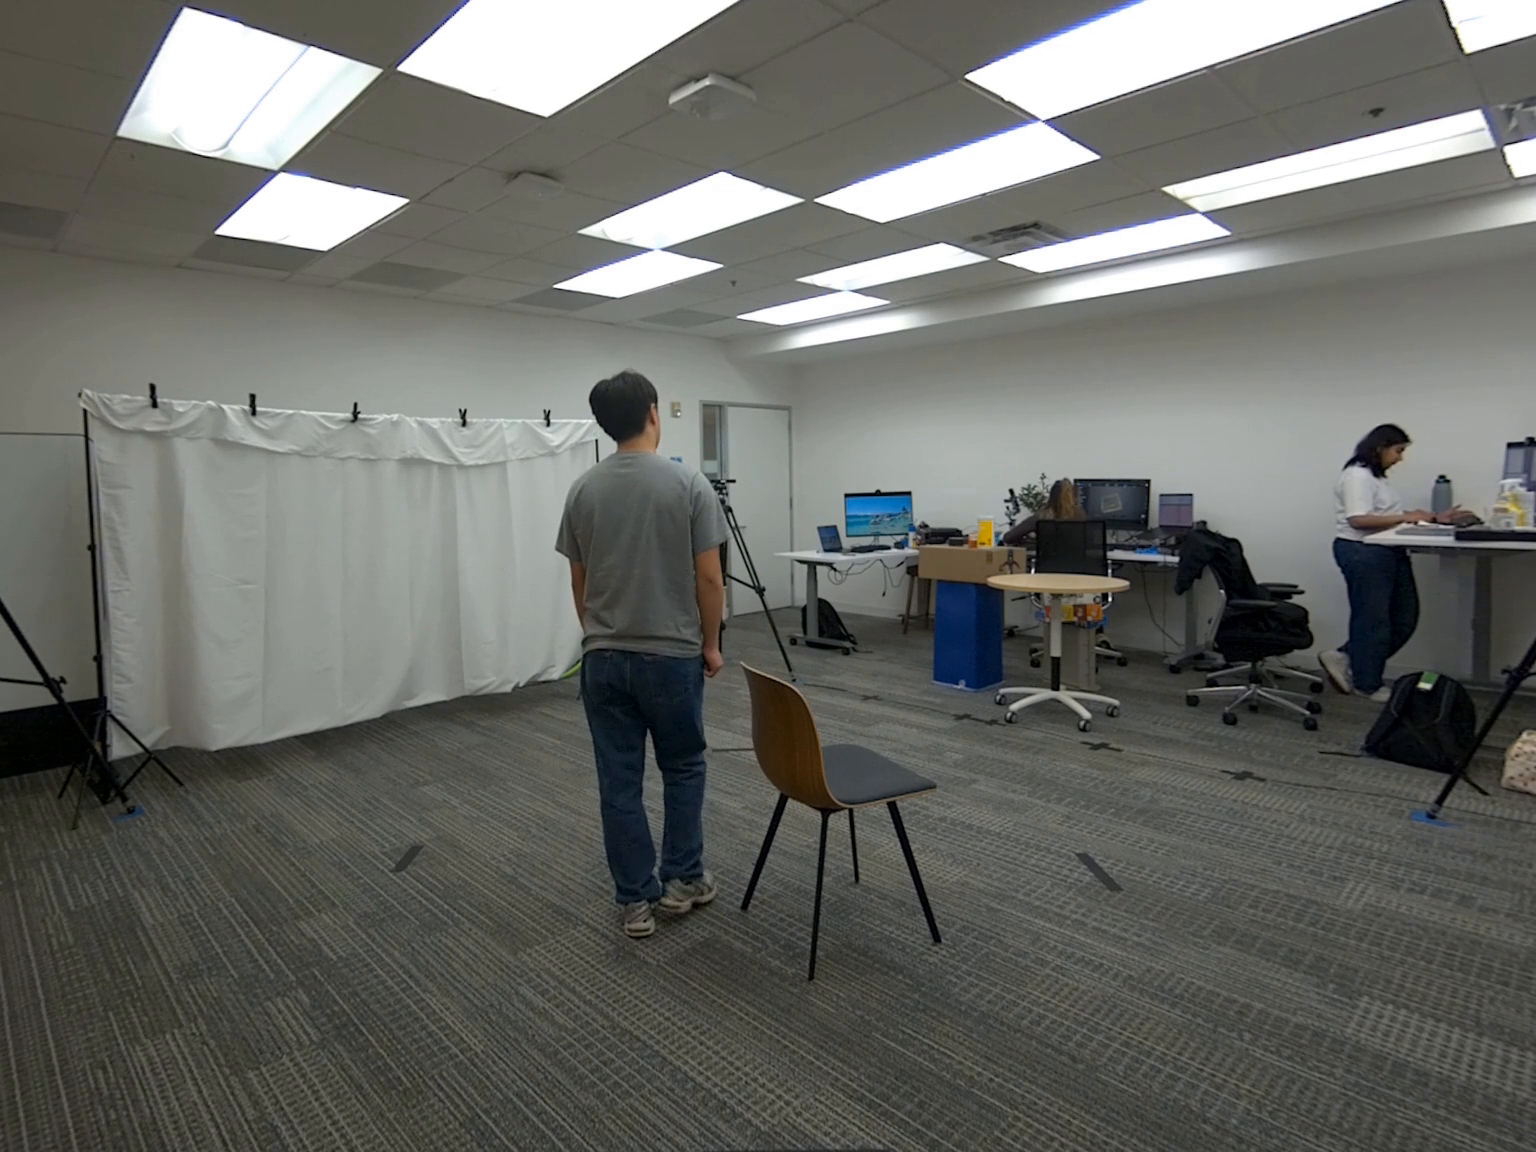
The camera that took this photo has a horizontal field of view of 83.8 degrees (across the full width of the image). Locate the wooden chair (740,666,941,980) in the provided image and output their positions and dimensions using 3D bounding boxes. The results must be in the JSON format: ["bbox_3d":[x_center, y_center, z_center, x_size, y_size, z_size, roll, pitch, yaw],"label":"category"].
[{"bbox_3d":[0.216,0.667,2.641,0.513,0.872,0.490,-8,6,-26],"label":"wooden chair"}]
